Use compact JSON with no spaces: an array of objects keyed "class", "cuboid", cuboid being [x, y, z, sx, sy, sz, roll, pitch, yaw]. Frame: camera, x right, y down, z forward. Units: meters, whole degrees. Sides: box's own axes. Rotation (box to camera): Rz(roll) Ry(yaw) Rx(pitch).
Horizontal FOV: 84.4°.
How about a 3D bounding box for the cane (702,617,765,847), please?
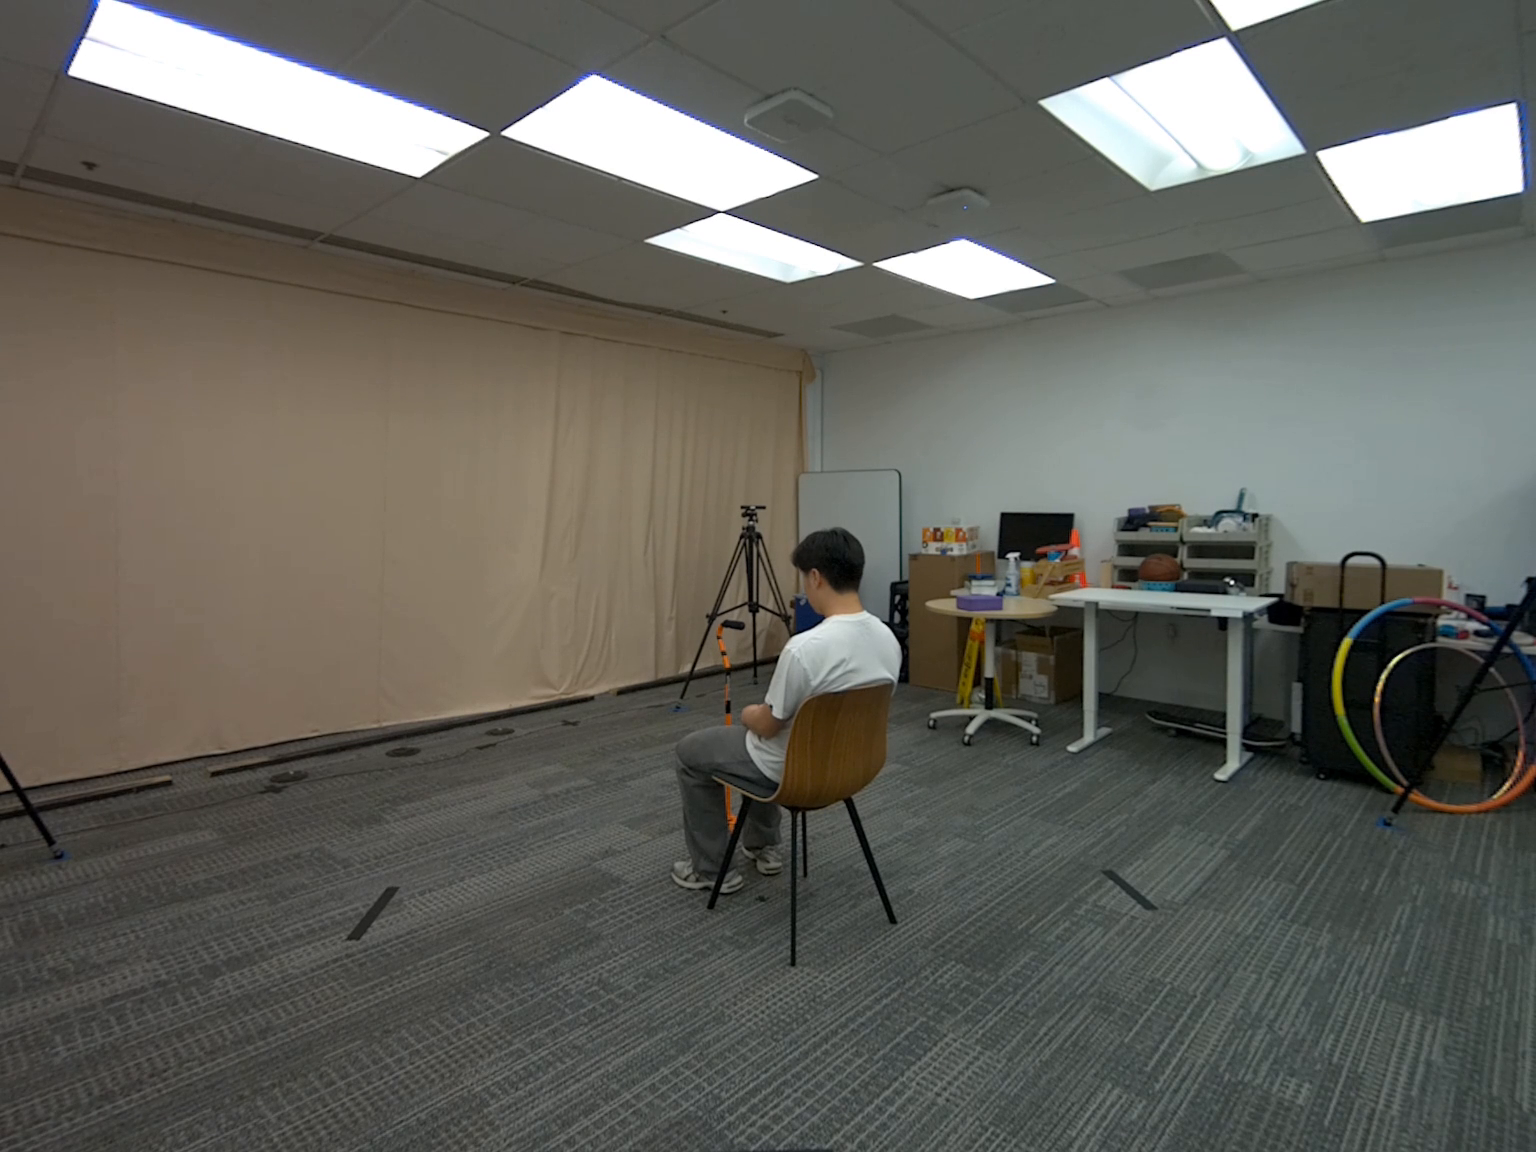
[{"class":"cane","cuboid":[-0.148,0.639,3.571,0.147,0.907,0.213,-2,2,-40]}]
